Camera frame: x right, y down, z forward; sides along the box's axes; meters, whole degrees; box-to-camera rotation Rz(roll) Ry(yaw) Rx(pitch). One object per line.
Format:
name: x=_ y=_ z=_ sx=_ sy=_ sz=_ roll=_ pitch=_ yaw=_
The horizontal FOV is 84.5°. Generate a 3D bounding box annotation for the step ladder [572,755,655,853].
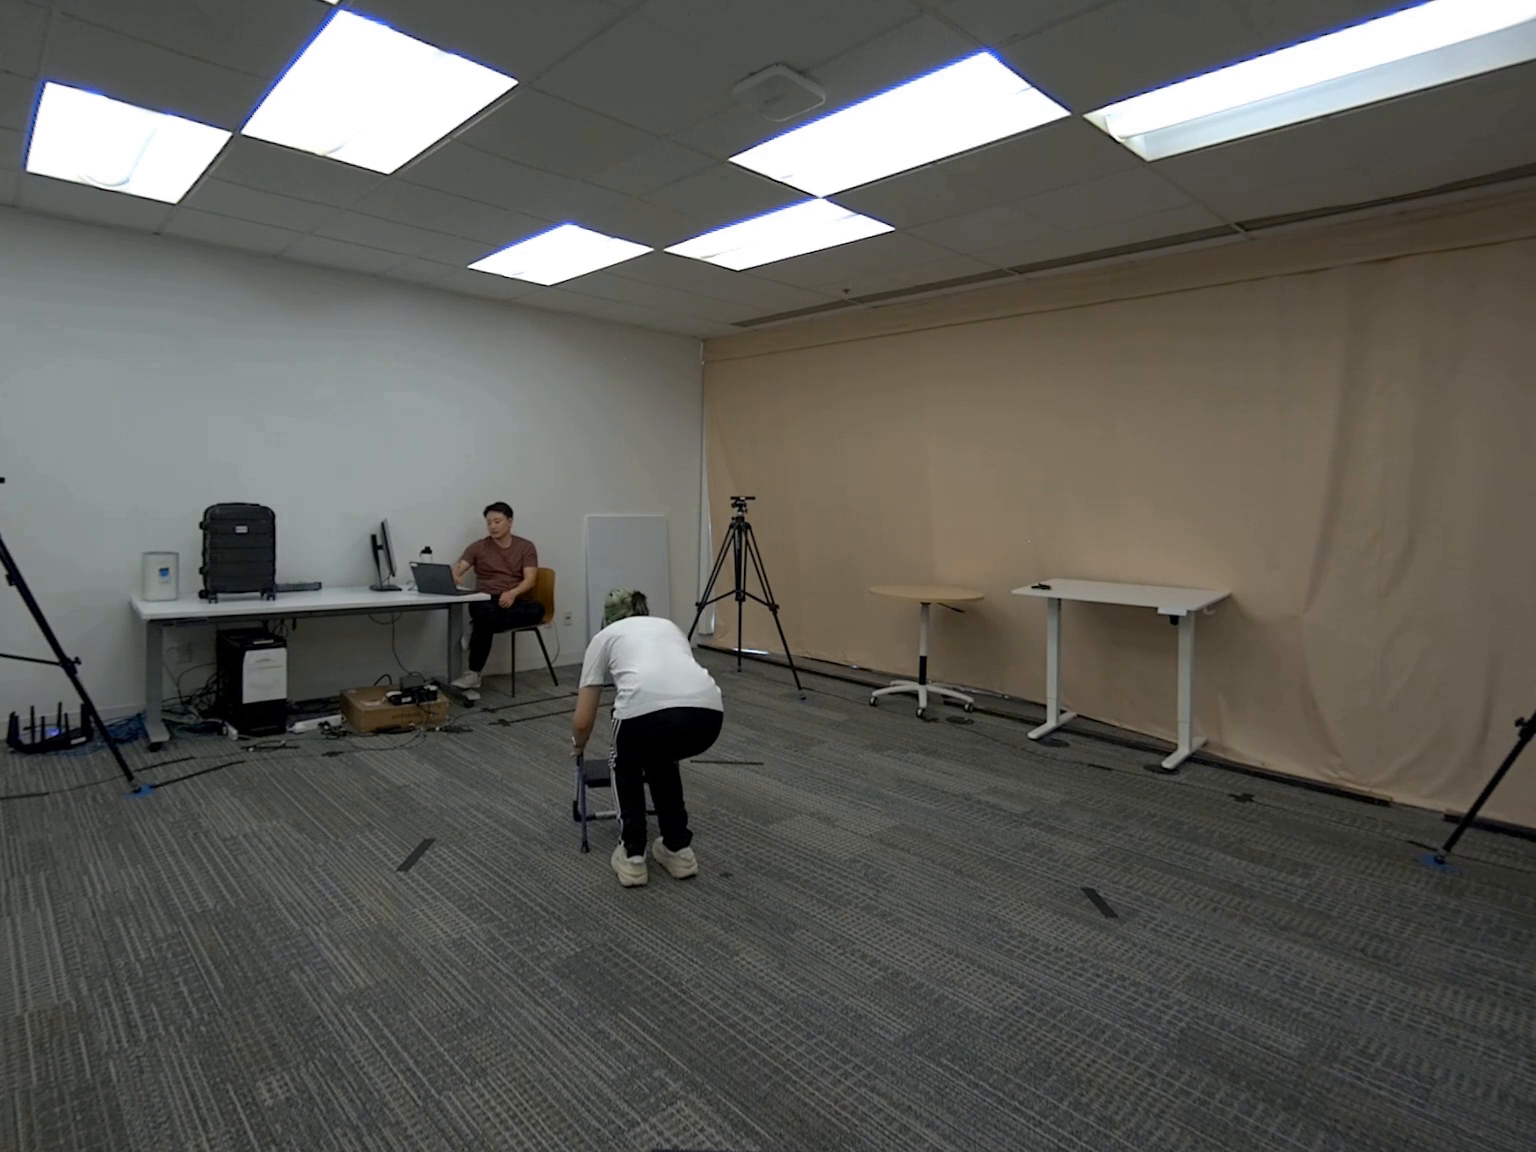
step ladder: x=-0.585 y=0.749 z=3.486 sx=0.424 sy=0.605 sz=0.355 roll=0 pitch=3 yaw=-20
